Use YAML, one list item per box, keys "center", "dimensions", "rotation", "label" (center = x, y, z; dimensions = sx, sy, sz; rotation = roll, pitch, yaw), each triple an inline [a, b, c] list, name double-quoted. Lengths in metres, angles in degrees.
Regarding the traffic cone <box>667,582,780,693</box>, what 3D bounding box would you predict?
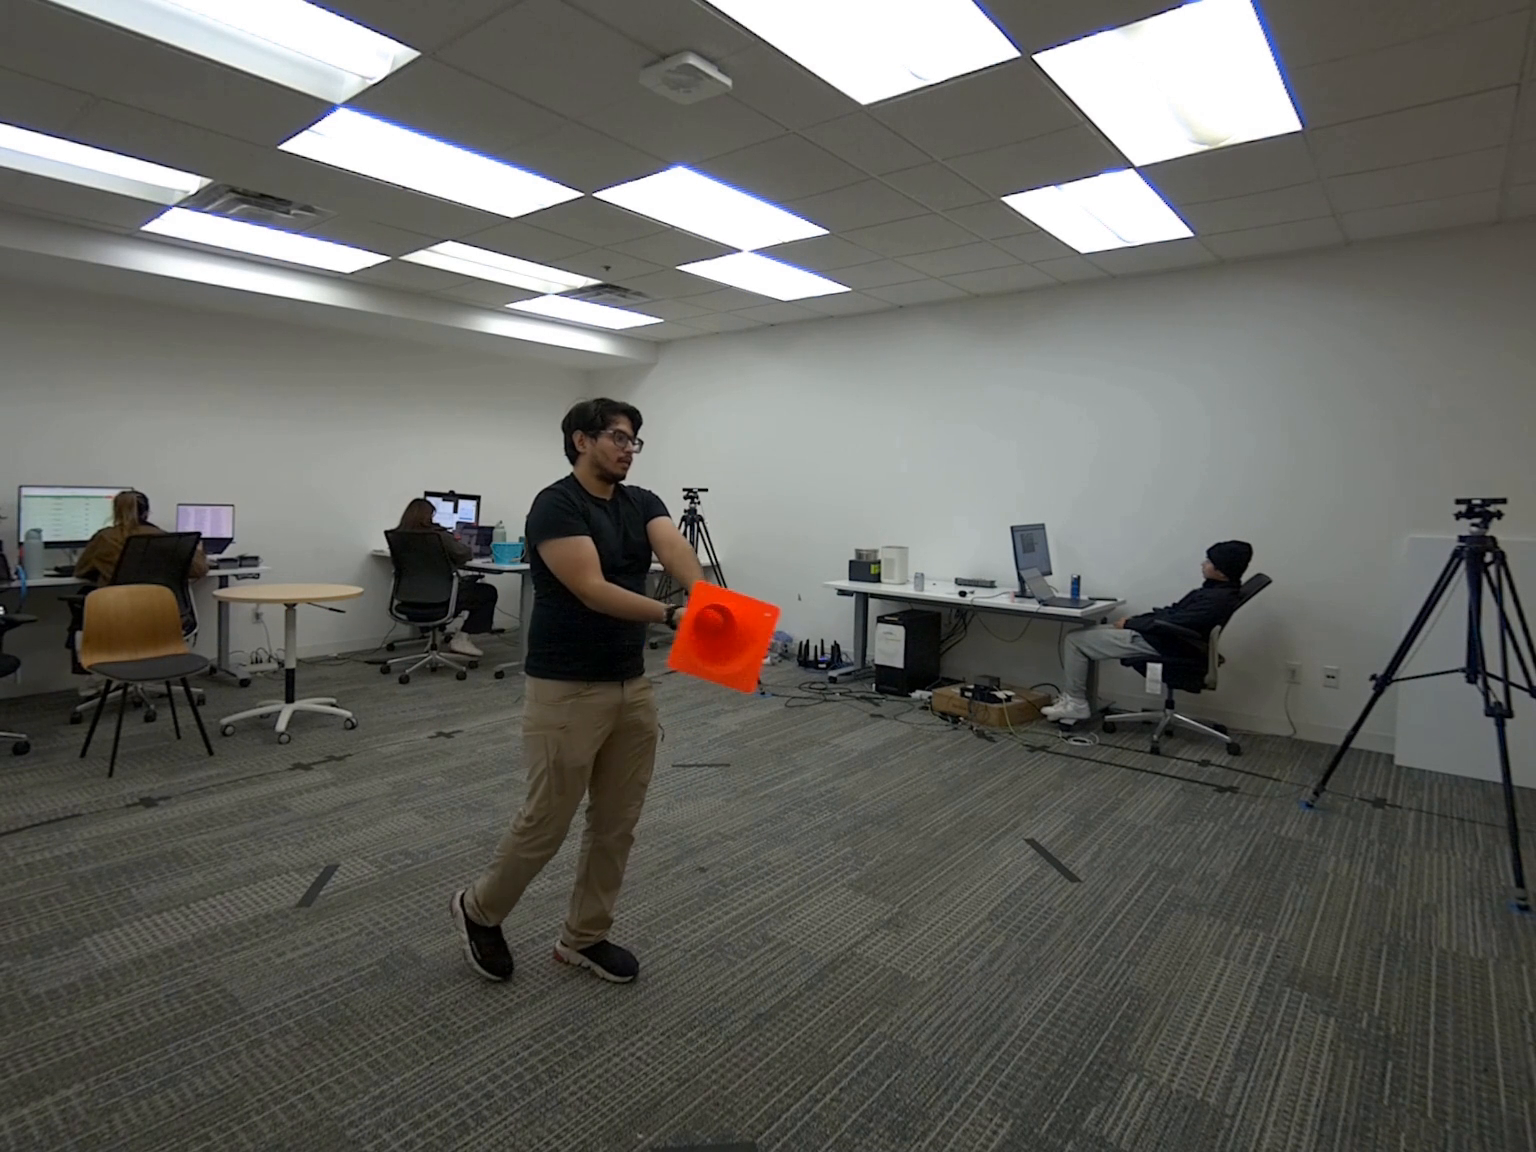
- center: [-0.149, 0.117, 2.015]
  dimensions: [0.203, 0.203, 0.387]
  rotation: [16, 0, -9]
  label: "traffic cone"
